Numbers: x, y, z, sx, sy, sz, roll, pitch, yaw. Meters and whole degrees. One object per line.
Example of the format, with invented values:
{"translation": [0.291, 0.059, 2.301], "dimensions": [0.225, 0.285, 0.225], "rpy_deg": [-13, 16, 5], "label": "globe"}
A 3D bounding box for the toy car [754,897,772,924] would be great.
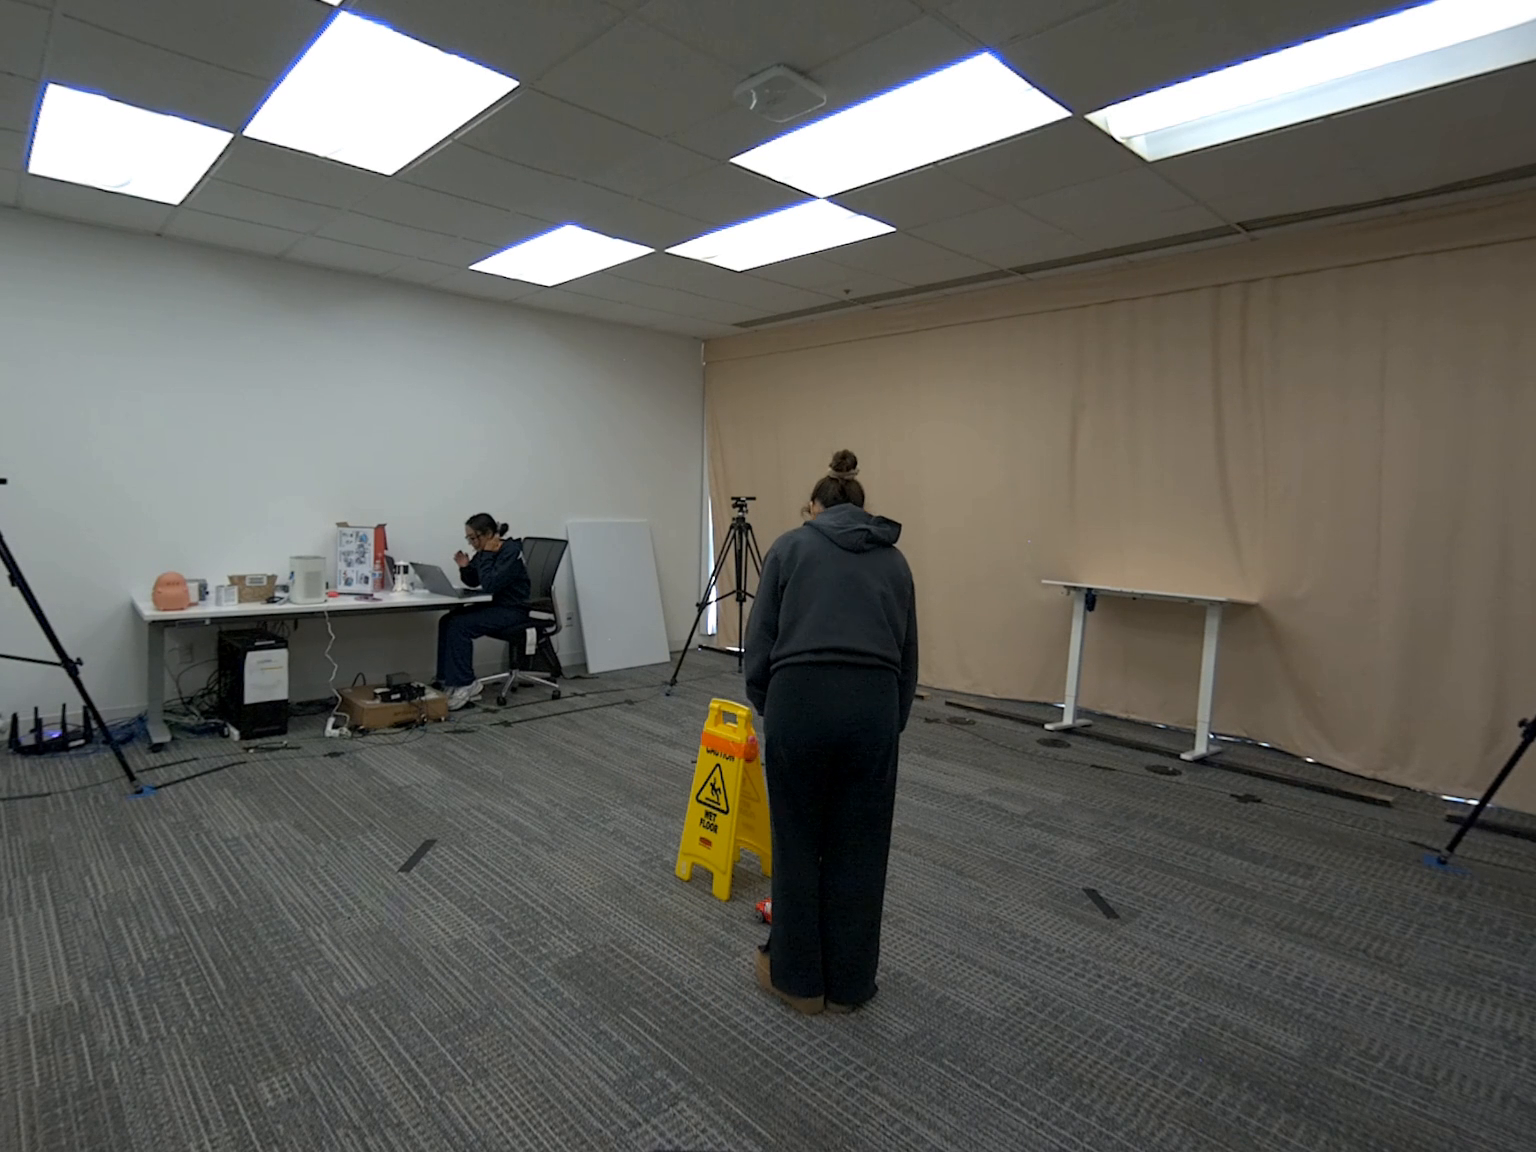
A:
{"translation": [0.076, 1.116, 2.745], "dimensions": [0.127, 0.083, 0.260], "rpy_deg": [-3, -3, -43], "label": "toy car"}
